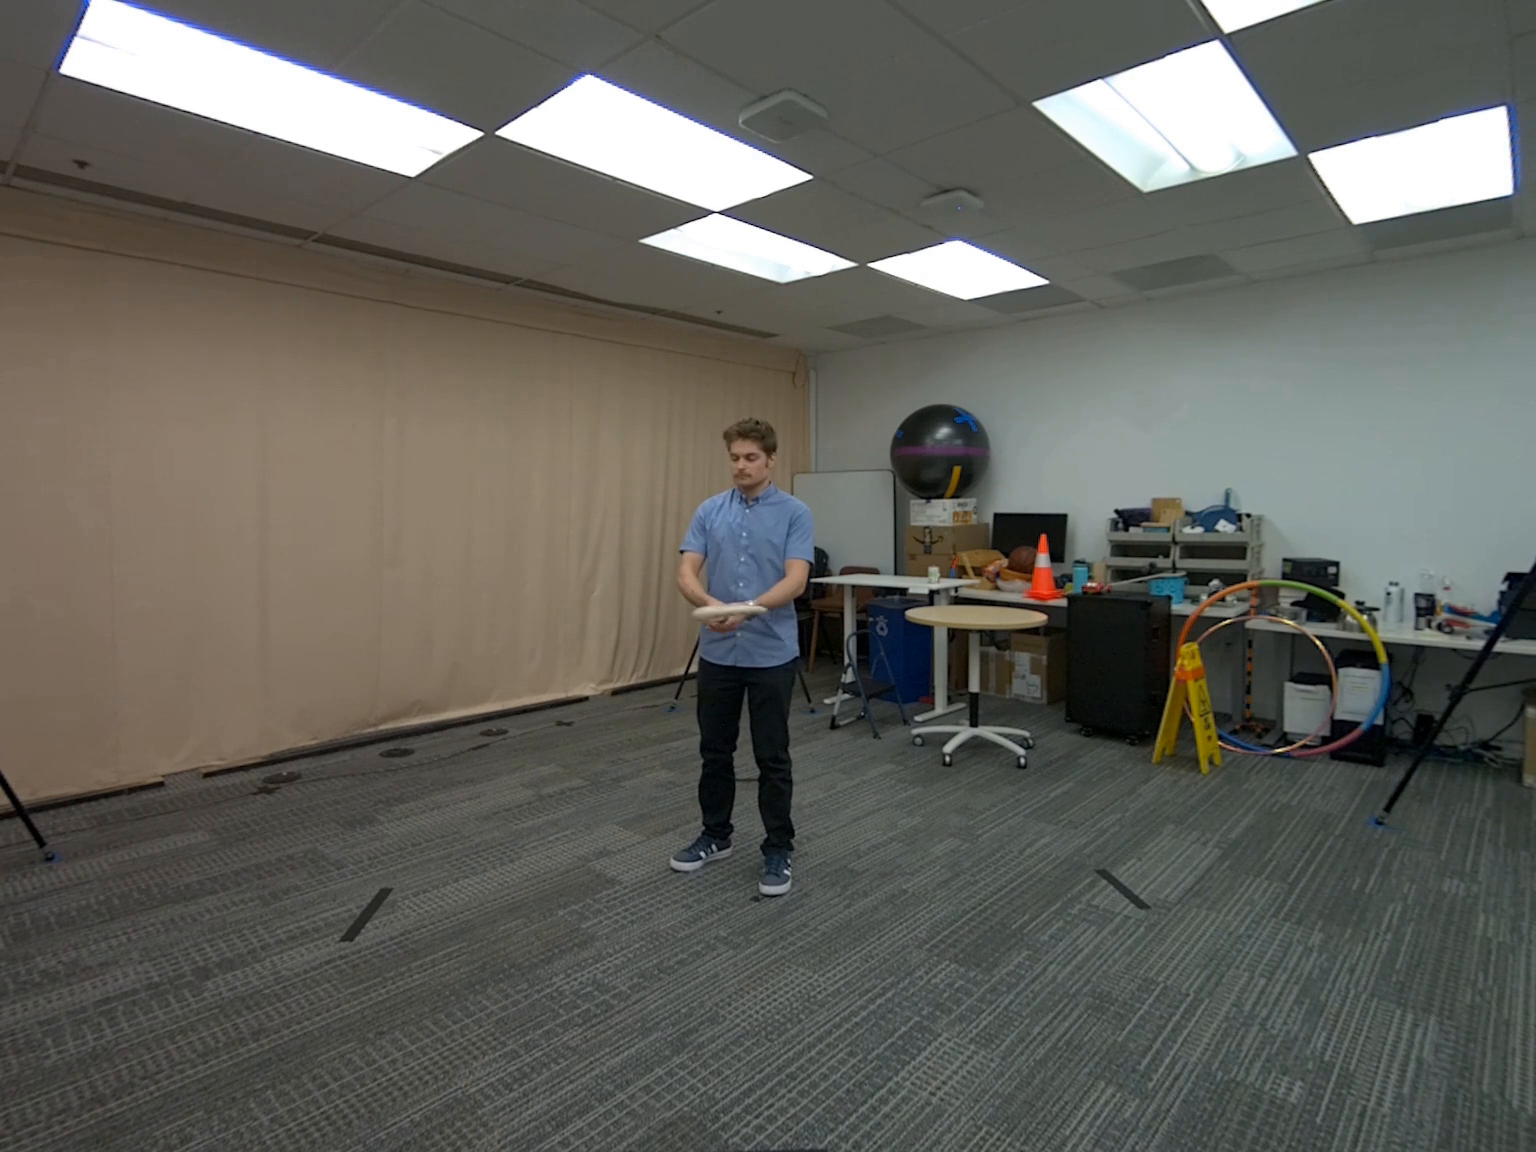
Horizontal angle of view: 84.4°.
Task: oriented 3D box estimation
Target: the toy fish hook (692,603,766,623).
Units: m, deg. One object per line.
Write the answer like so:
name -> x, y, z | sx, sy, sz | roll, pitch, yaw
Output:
toy fish hook -> -0.104, 0.135, 2.756 | 0.225, 0.048, 0.504 | 1, -6, -1
